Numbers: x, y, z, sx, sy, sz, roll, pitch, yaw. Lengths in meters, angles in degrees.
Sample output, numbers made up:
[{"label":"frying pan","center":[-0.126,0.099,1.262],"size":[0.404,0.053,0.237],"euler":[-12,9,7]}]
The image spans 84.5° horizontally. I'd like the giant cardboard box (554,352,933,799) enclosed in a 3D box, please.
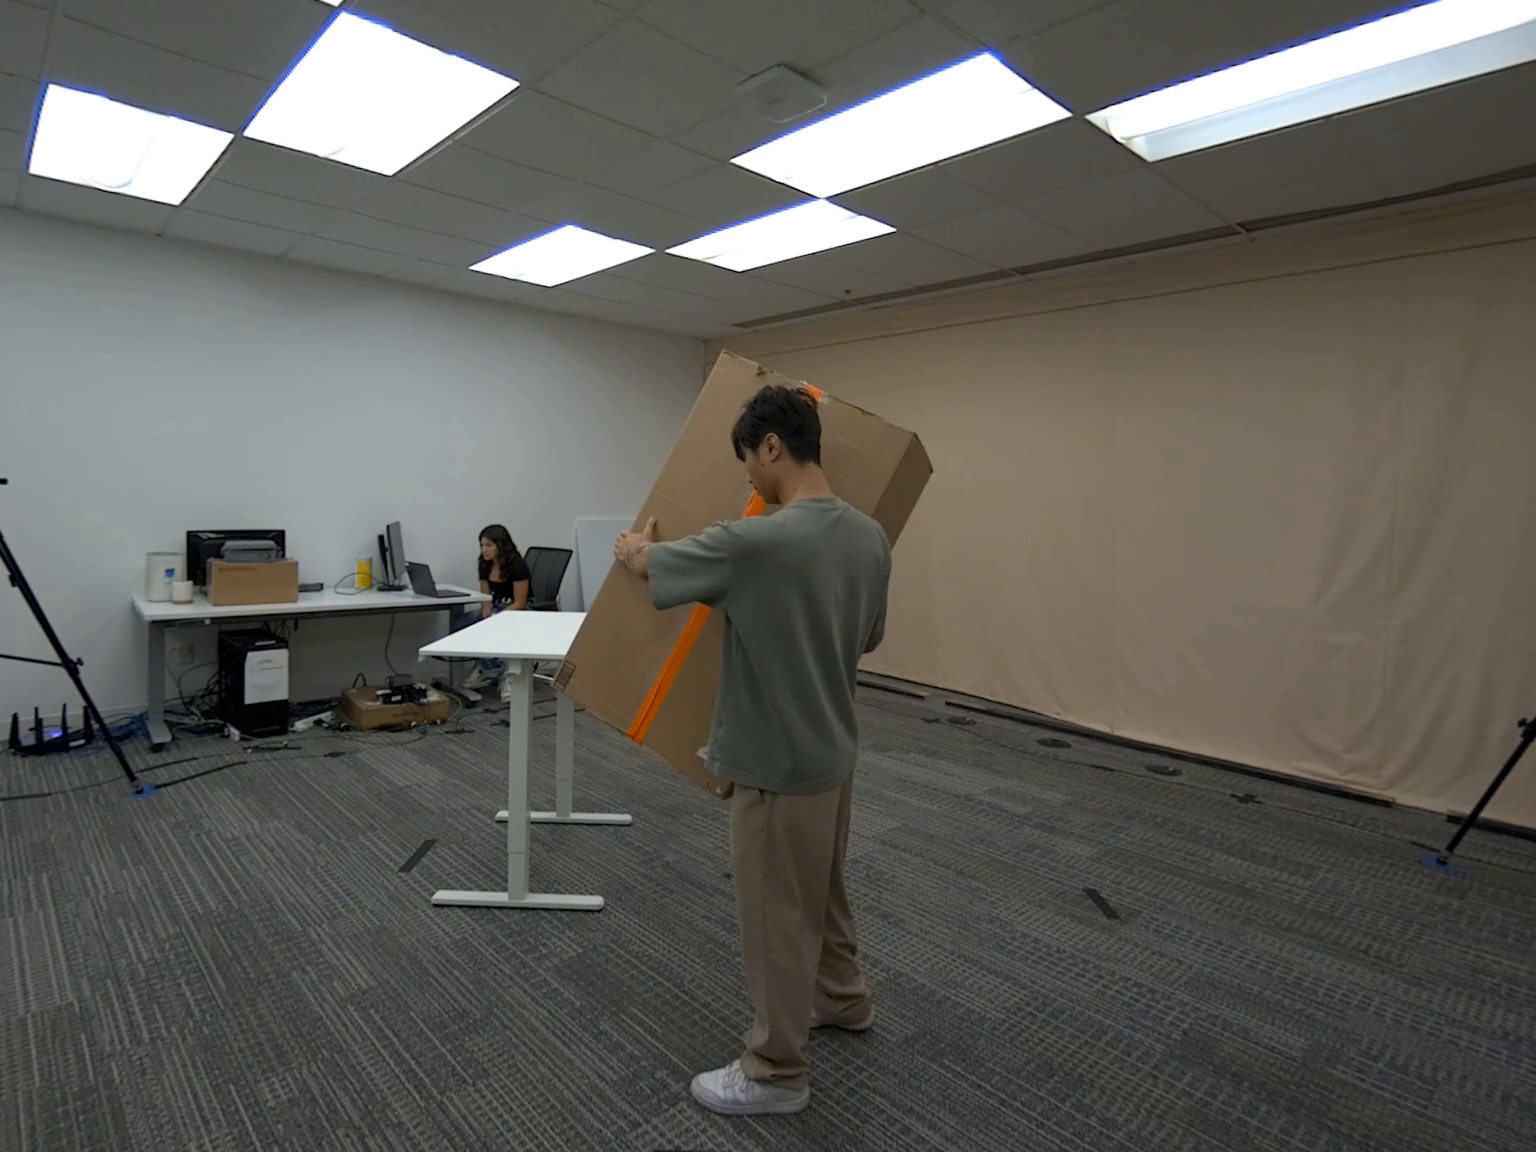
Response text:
[{"label":"giant cardboard box","center":[-0.058,0.000,2.347],"size":[0.589,1.025,0.418],"euler":[28,2,19]}]
